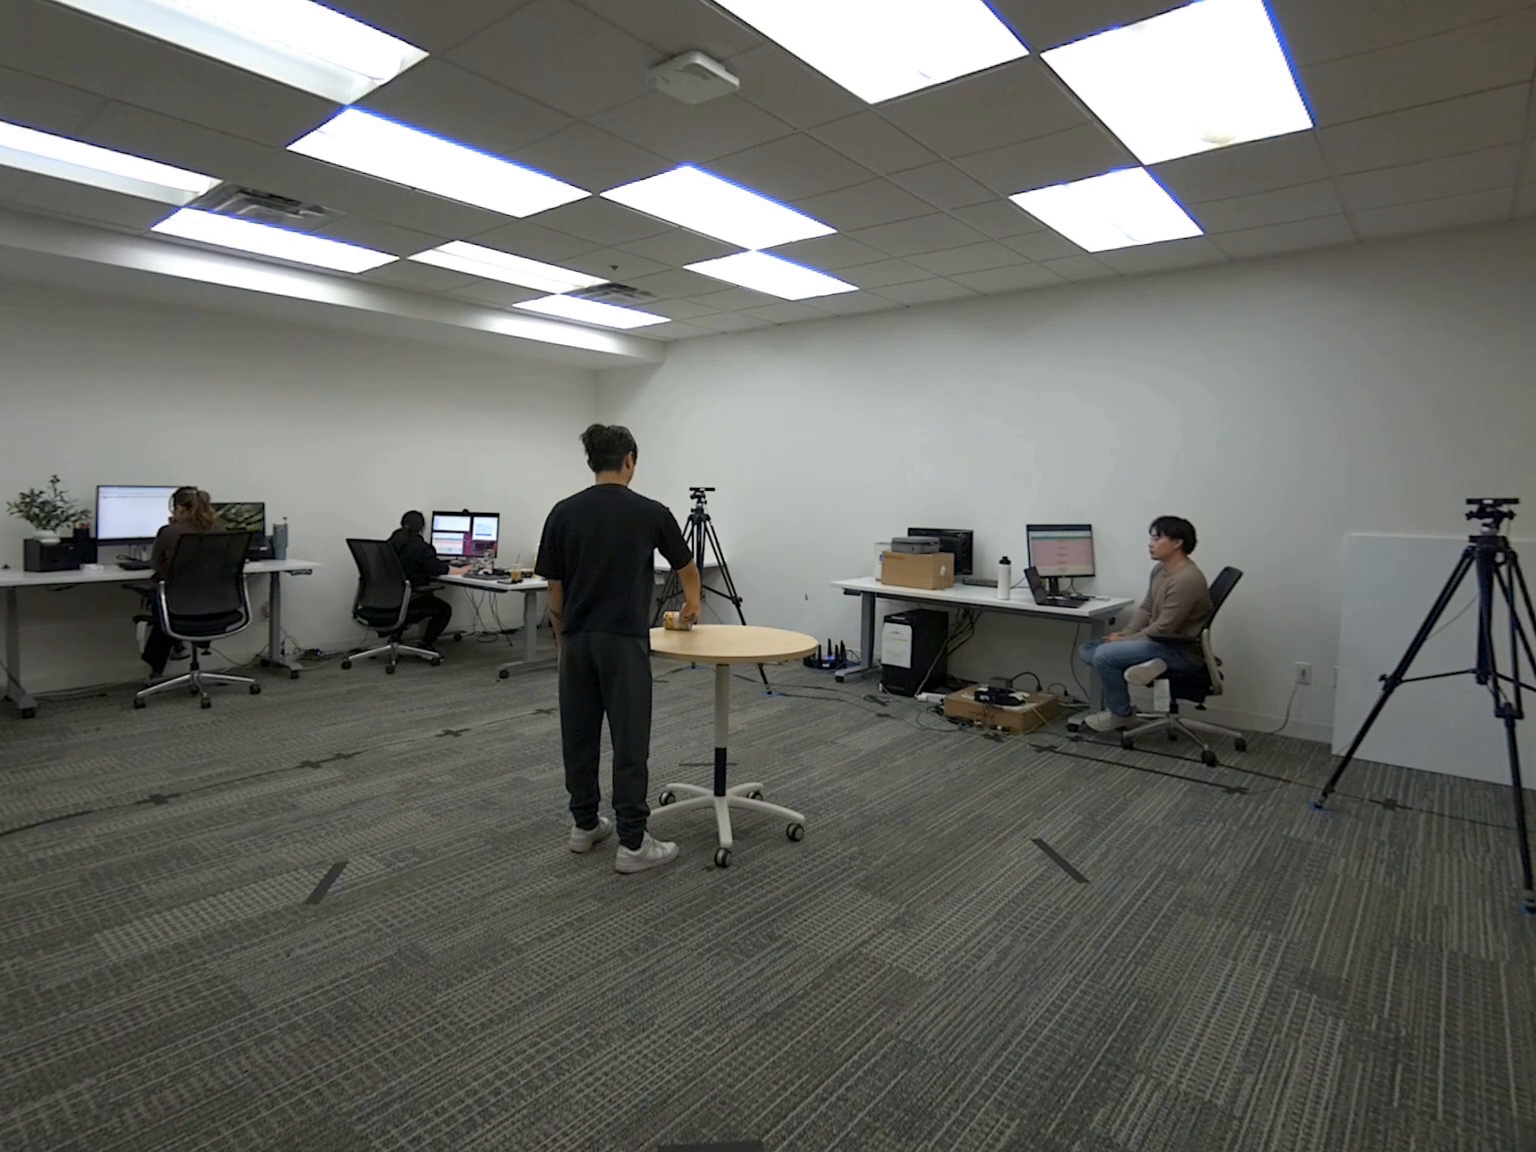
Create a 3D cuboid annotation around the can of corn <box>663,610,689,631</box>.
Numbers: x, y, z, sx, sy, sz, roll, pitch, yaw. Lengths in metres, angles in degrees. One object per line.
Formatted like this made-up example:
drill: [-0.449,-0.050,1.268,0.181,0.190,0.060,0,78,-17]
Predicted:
can of corn: [-0.393,0.183,3.678,0.112,0.074,0.073,2,4,12]
